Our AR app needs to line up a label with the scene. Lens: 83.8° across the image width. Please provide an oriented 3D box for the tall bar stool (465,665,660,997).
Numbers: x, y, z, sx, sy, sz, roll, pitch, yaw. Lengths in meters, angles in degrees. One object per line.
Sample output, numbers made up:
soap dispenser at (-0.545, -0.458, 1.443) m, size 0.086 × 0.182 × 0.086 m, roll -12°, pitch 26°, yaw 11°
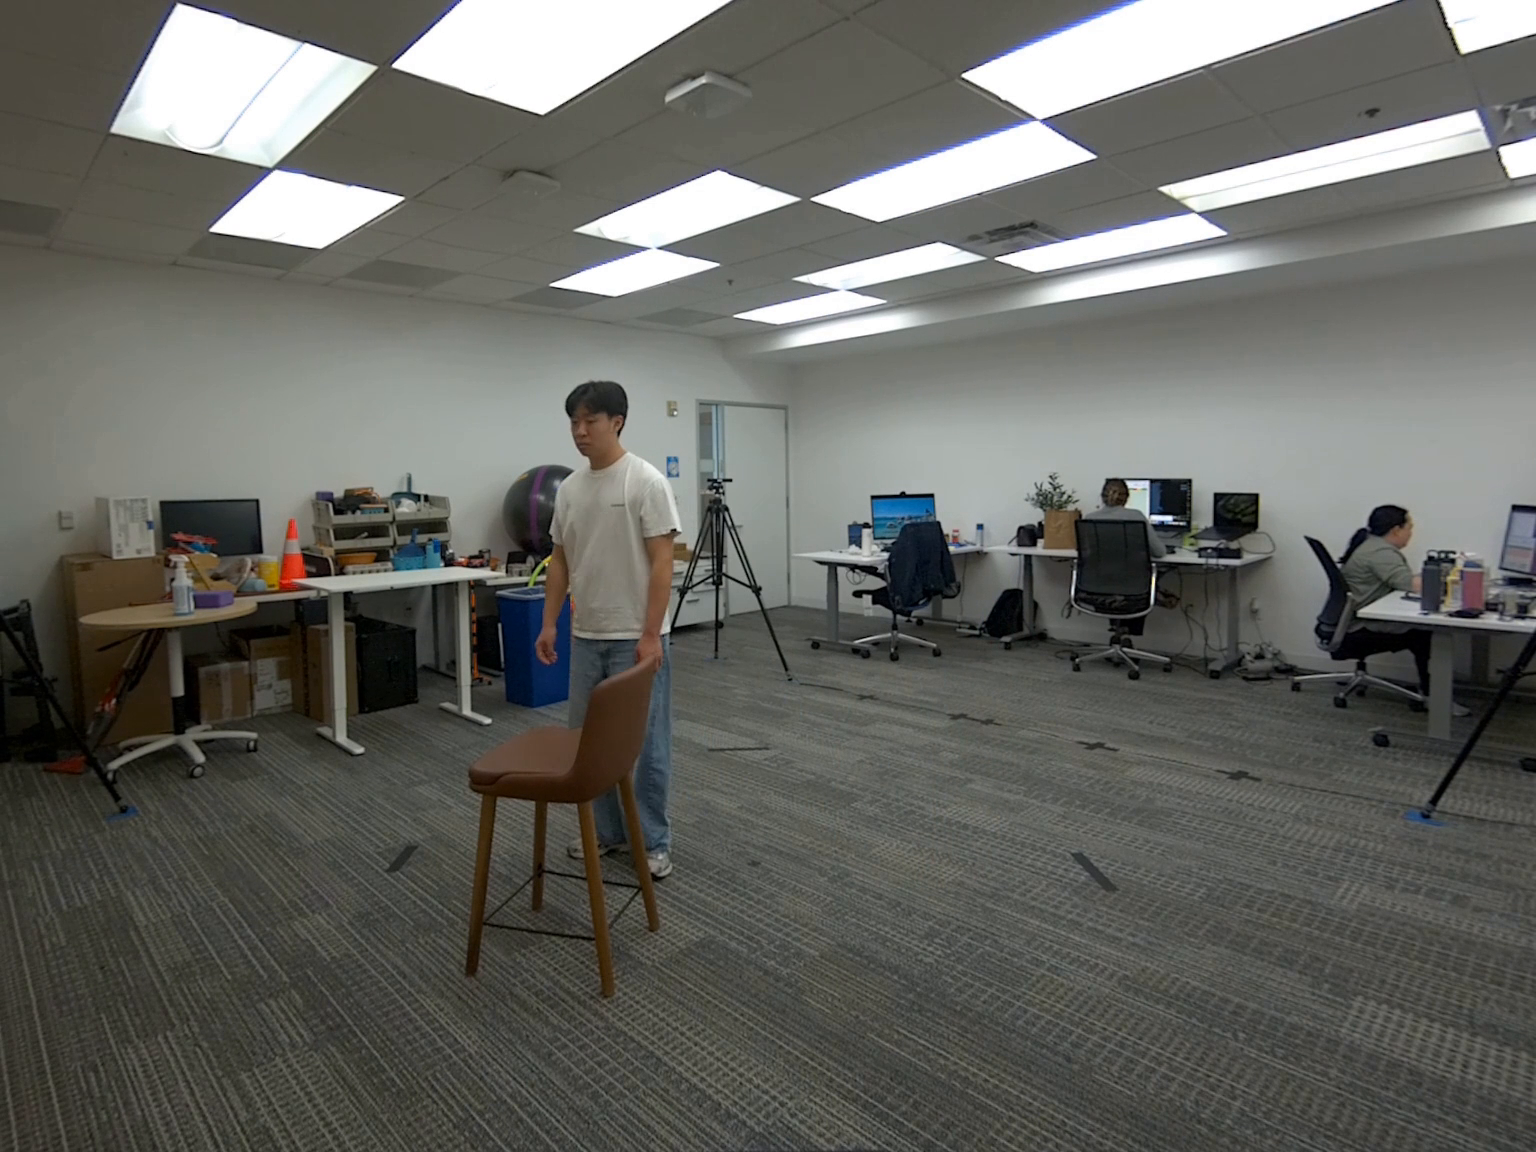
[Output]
tall bar stool at (-0.604, 0.693, 2.532) m, size 0.475 × 0.885 × 0.451 m, roll 2°, pitch 6°, yaw 16°
